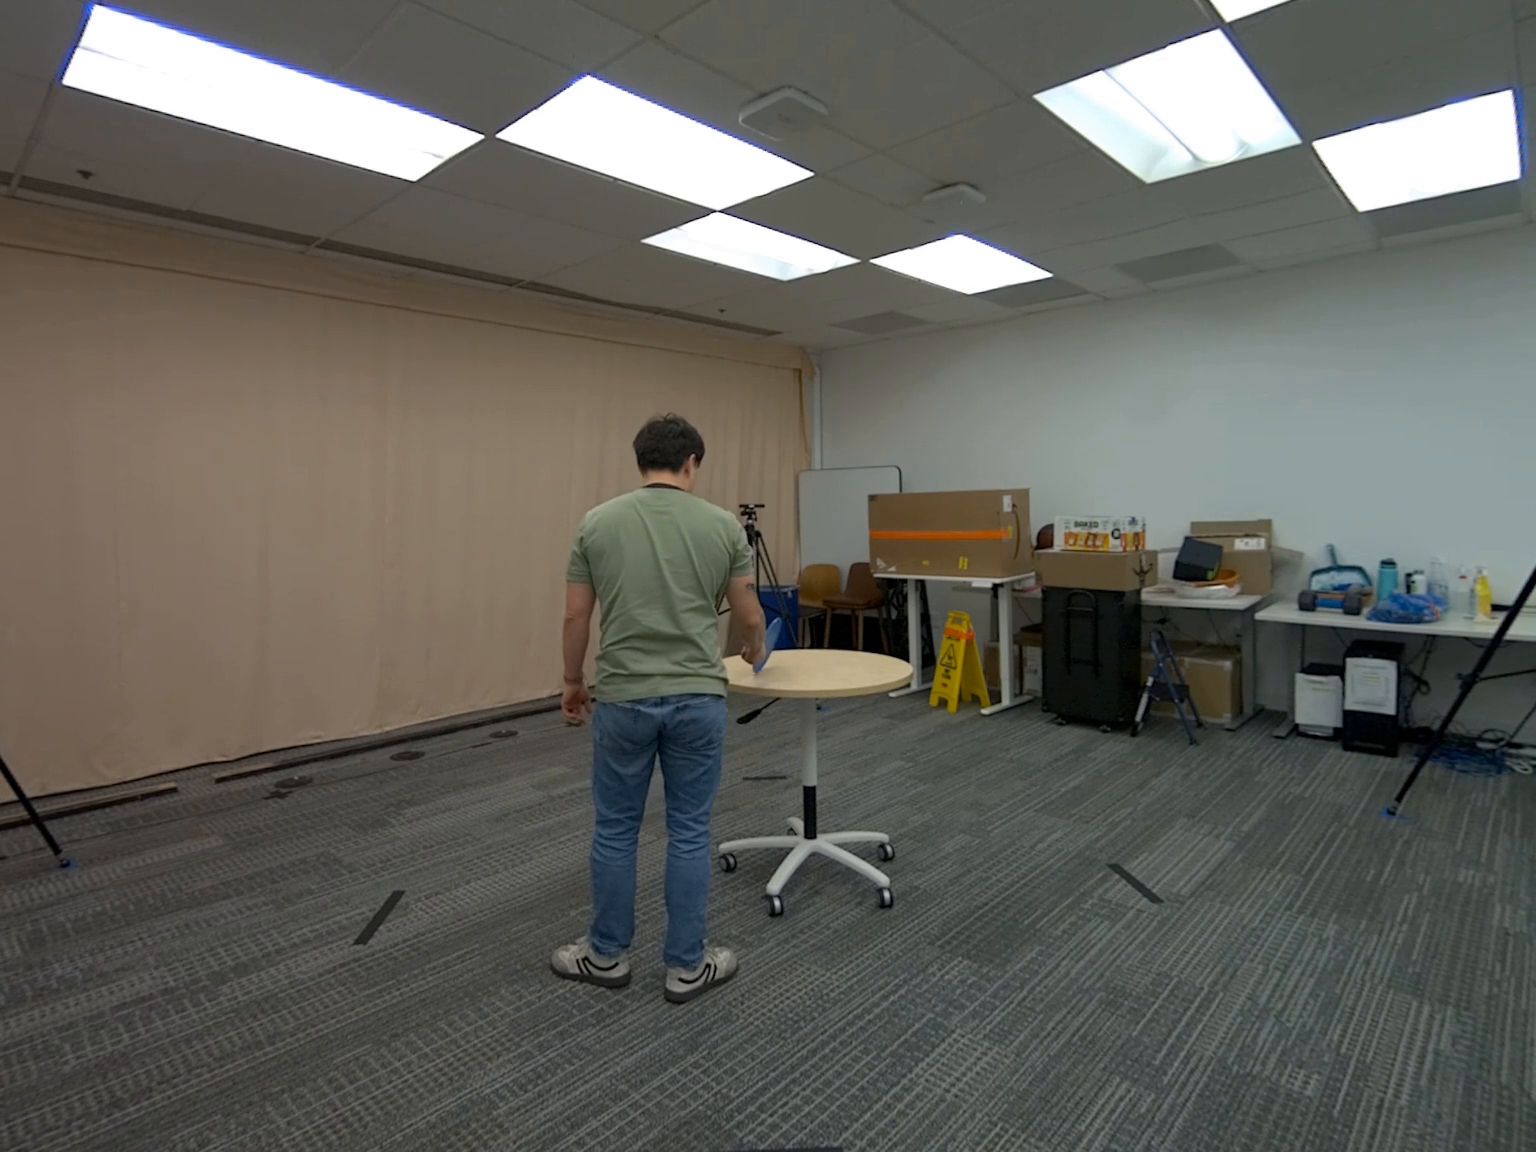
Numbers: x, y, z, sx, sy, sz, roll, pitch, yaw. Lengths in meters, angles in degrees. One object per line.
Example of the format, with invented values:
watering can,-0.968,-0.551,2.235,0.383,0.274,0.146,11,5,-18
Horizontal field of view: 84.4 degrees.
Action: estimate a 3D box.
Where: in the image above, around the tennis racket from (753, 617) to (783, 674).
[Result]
tennis racket,-0.007,0.250,2.961,0.032,0.213,0.426,21,4,12
